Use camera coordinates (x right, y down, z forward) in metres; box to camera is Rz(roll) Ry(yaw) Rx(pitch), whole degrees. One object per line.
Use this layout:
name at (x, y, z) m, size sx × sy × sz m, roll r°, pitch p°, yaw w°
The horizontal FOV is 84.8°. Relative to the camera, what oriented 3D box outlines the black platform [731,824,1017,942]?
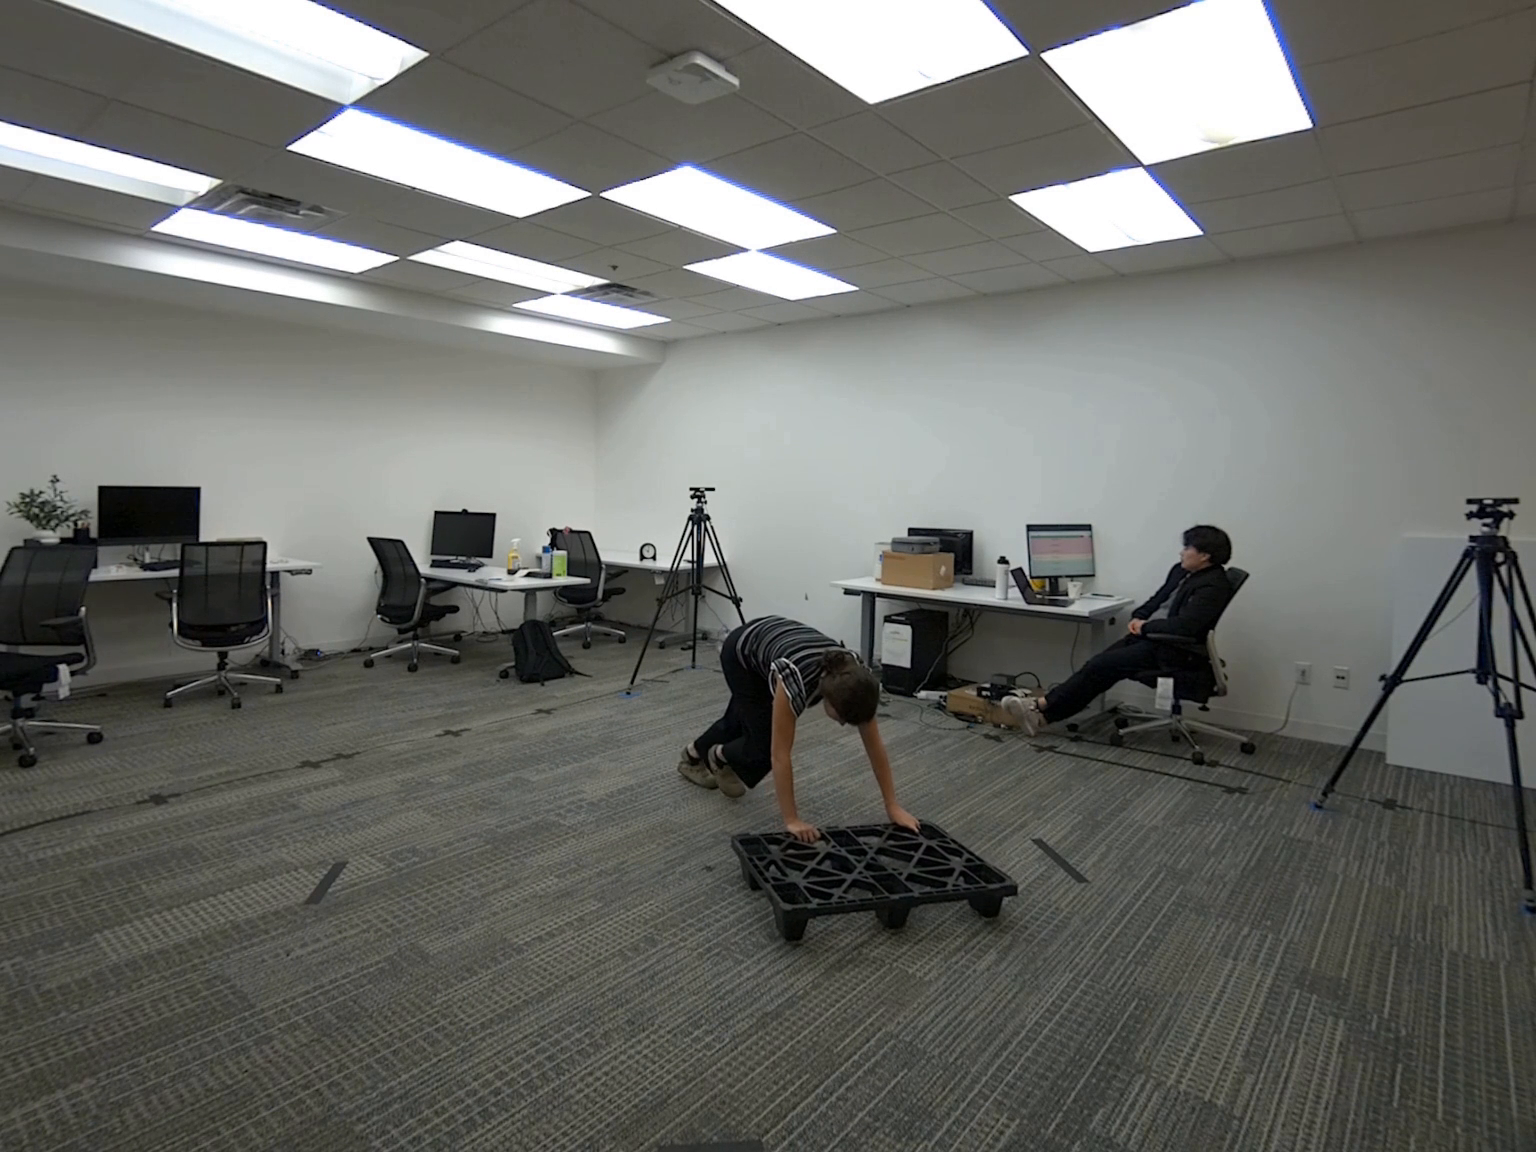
black platform at (0.326, 1.026, 2.906) m, size 0.792 × 0.143 × 0.617 m, roll -1°, pitch 5°, yaw -16°
